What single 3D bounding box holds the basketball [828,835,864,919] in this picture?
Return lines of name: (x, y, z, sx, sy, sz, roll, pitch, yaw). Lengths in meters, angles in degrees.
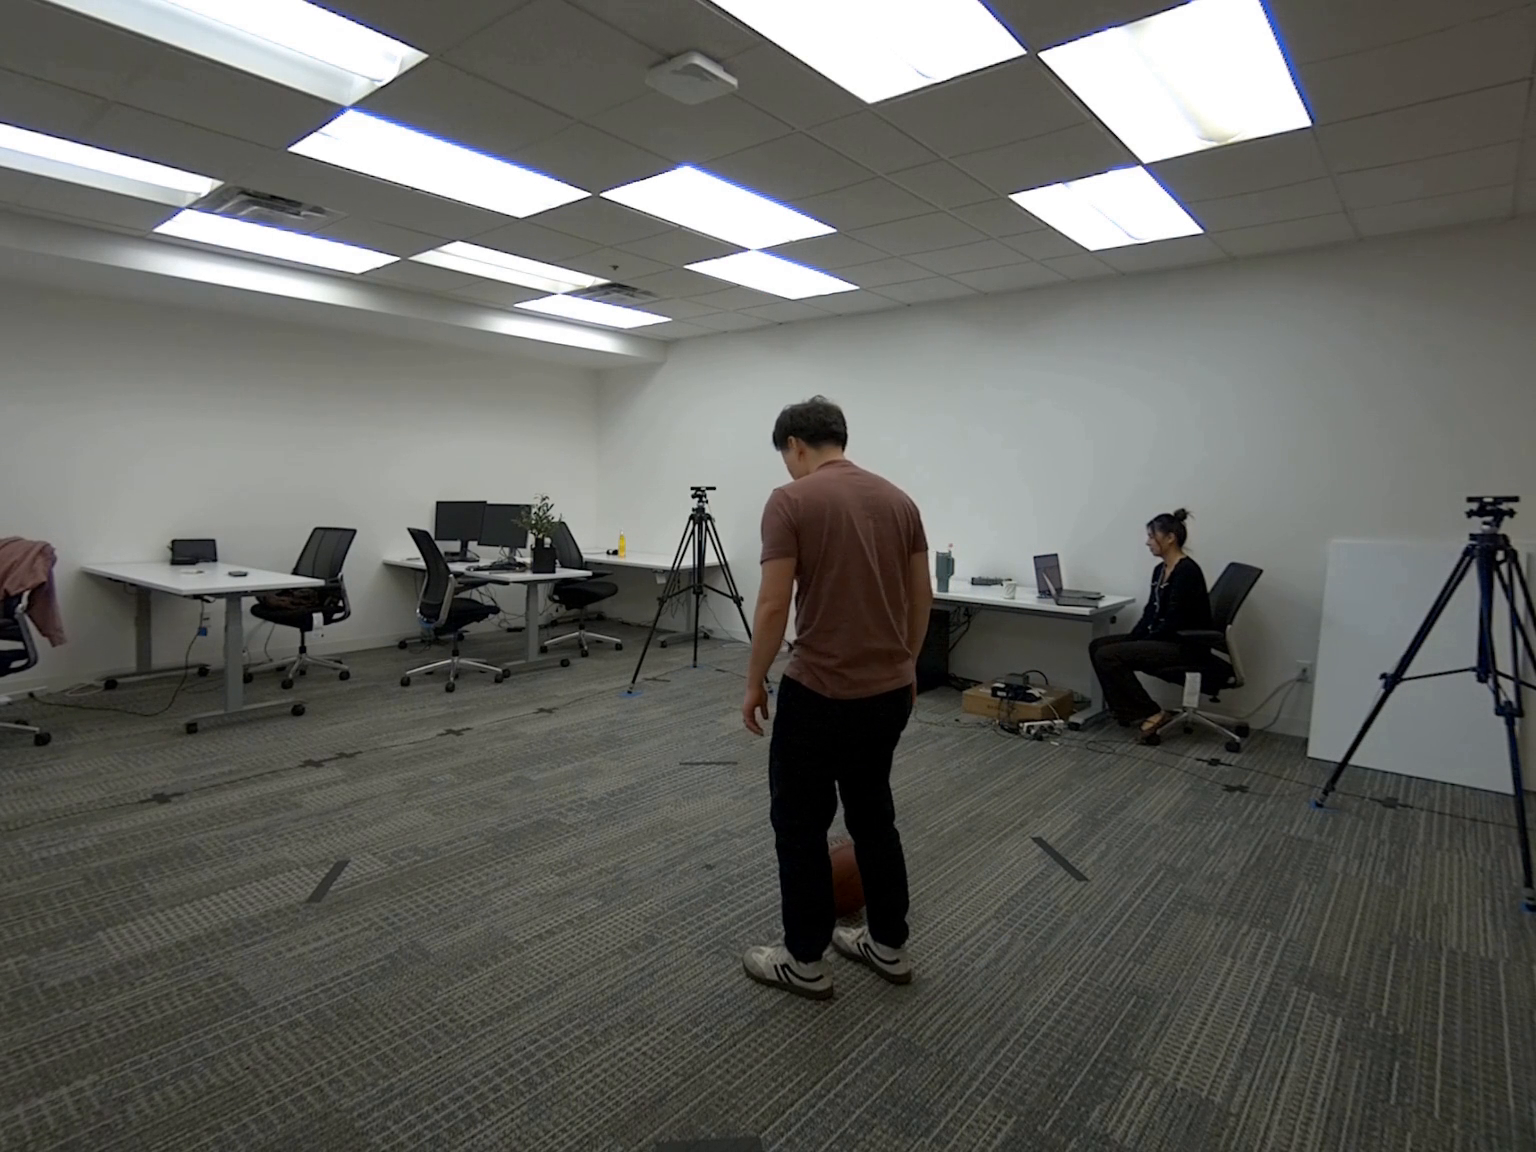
basketball: (0.235, 0.981, 2.807, 0.235, 0.235, 0.237, 1, 4, -2)
